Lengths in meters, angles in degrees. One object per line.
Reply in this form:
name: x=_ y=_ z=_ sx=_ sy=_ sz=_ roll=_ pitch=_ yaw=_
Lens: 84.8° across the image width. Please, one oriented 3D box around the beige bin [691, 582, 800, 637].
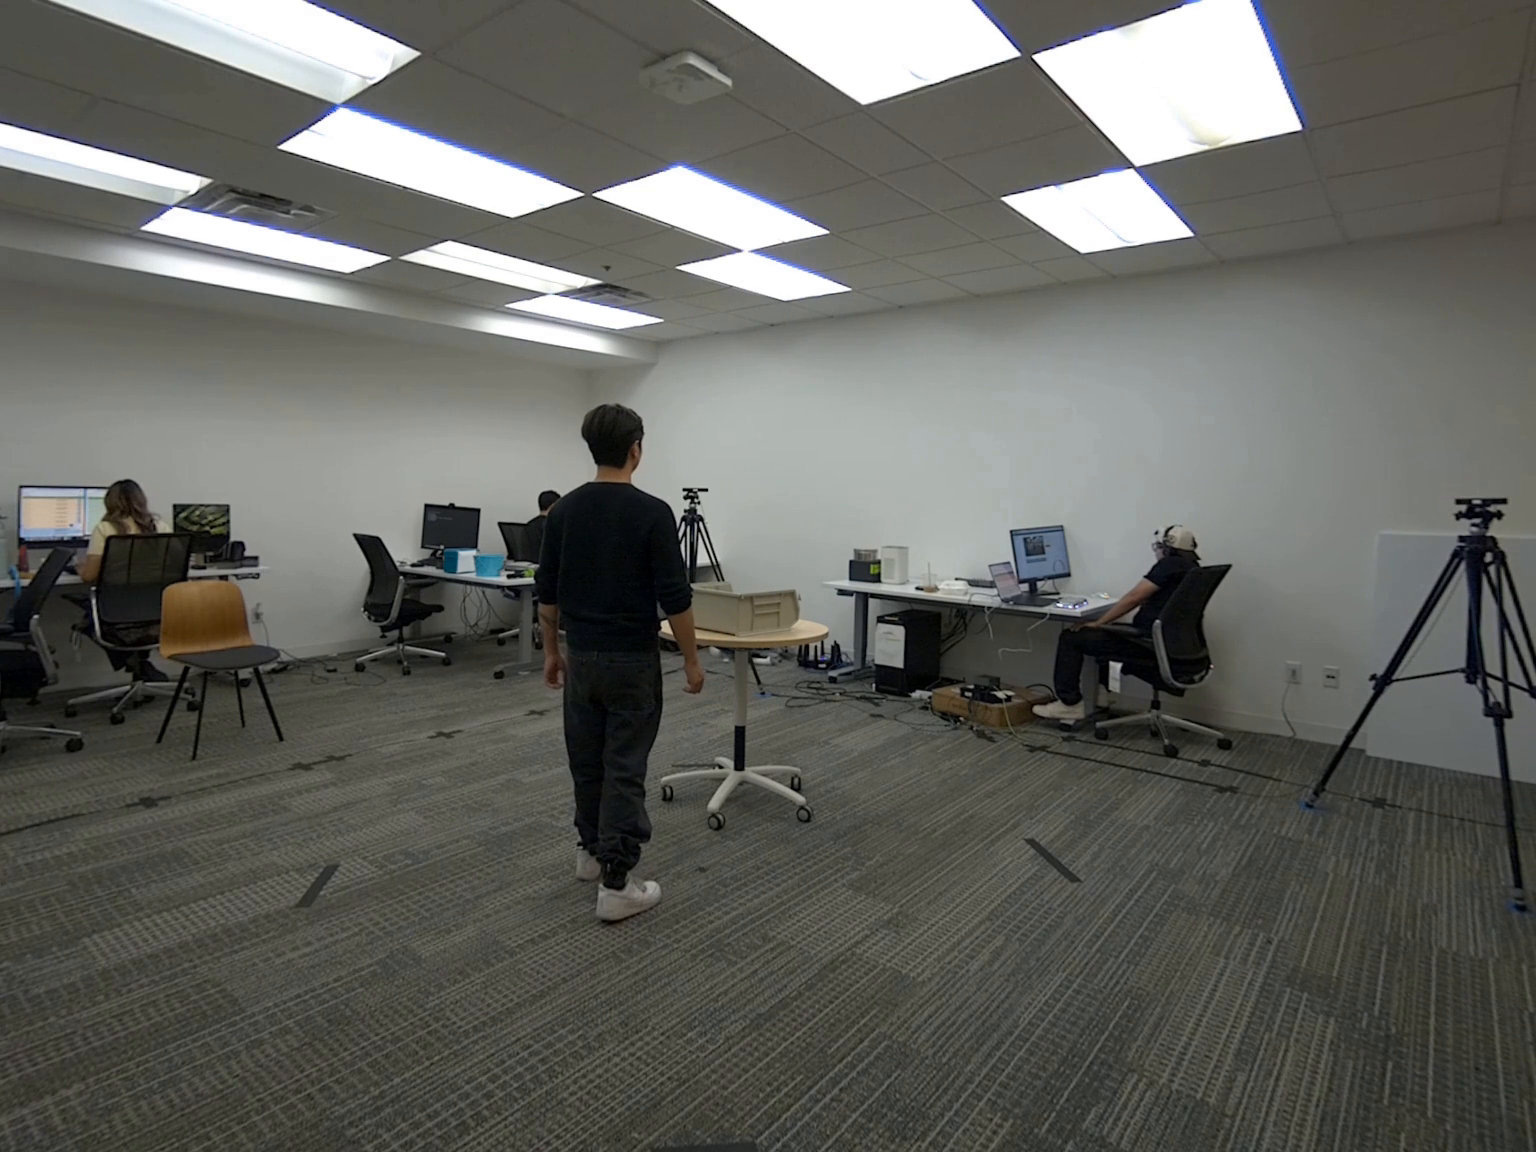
beige bin: x=-0.146 y=0.132 z=3.753 sx=0.366 sy=0.188 sz=0.437 roll=-6 pitch=9 yaw=-44
